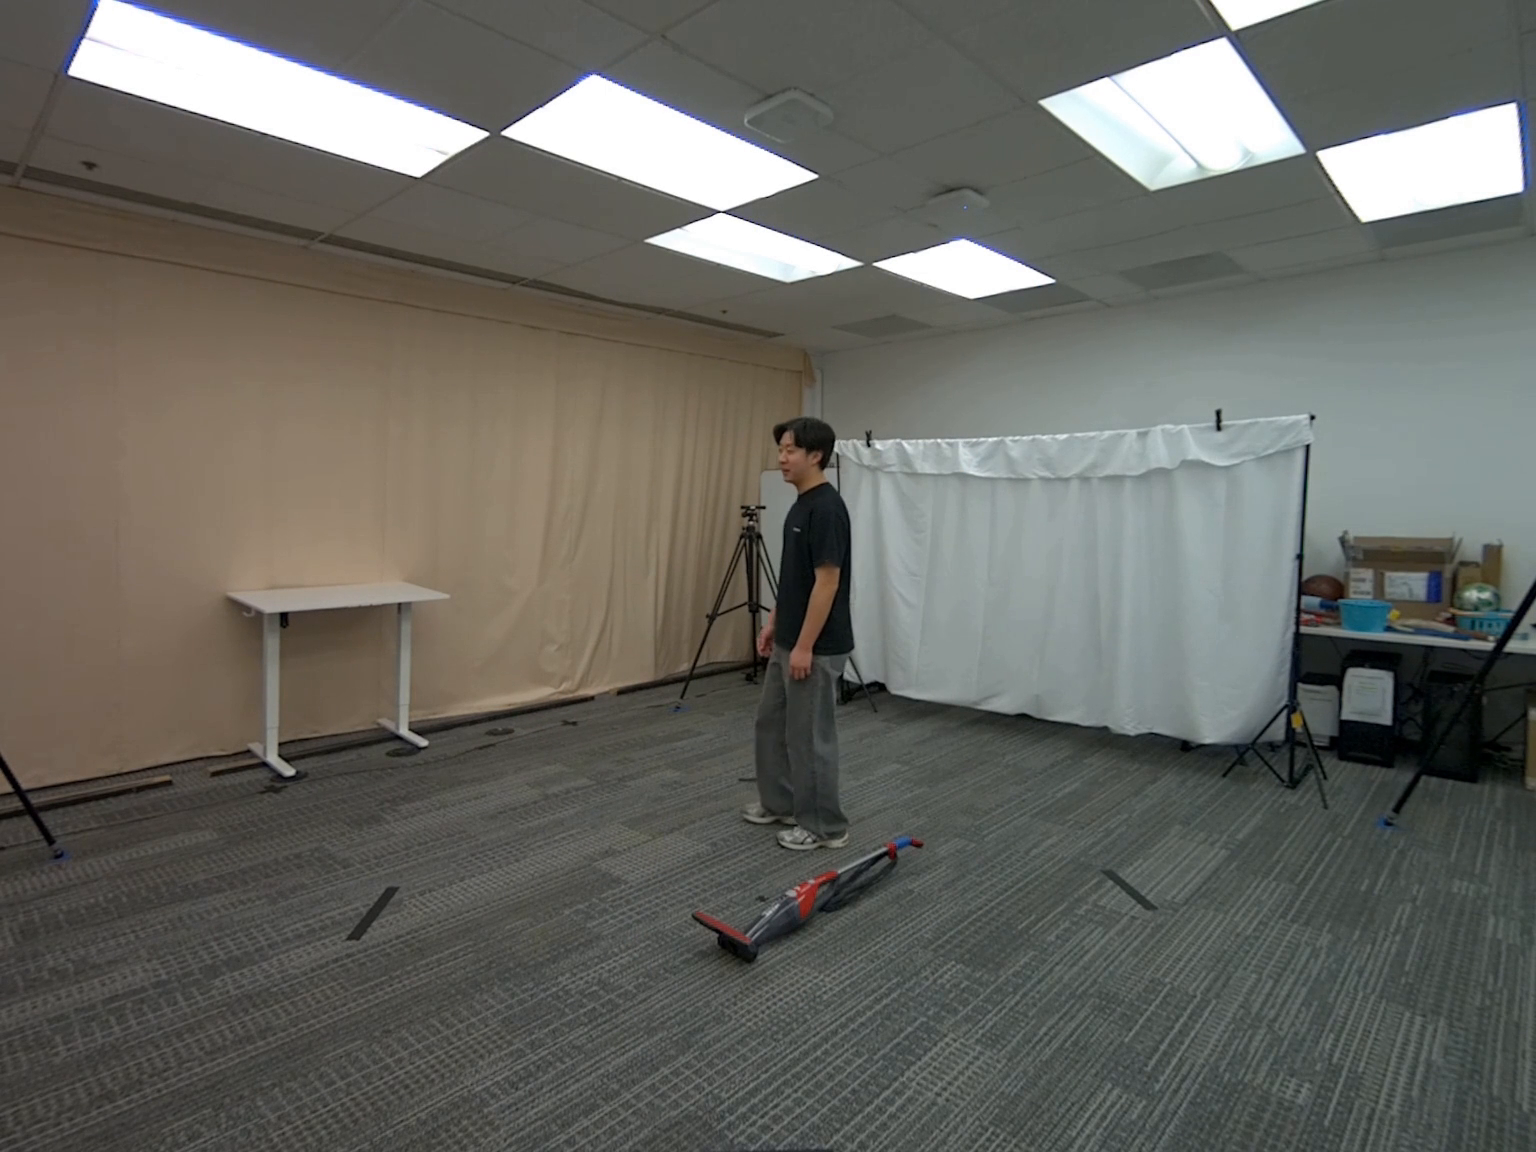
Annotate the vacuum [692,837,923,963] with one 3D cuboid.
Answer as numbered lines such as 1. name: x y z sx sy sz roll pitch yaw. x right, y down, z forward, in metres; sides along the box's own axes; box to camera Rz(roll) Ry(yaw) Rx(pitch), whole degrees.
1. vacuum: 0.234 1.089 2.936 1.017 0.143 0.261 -4 6 -44
